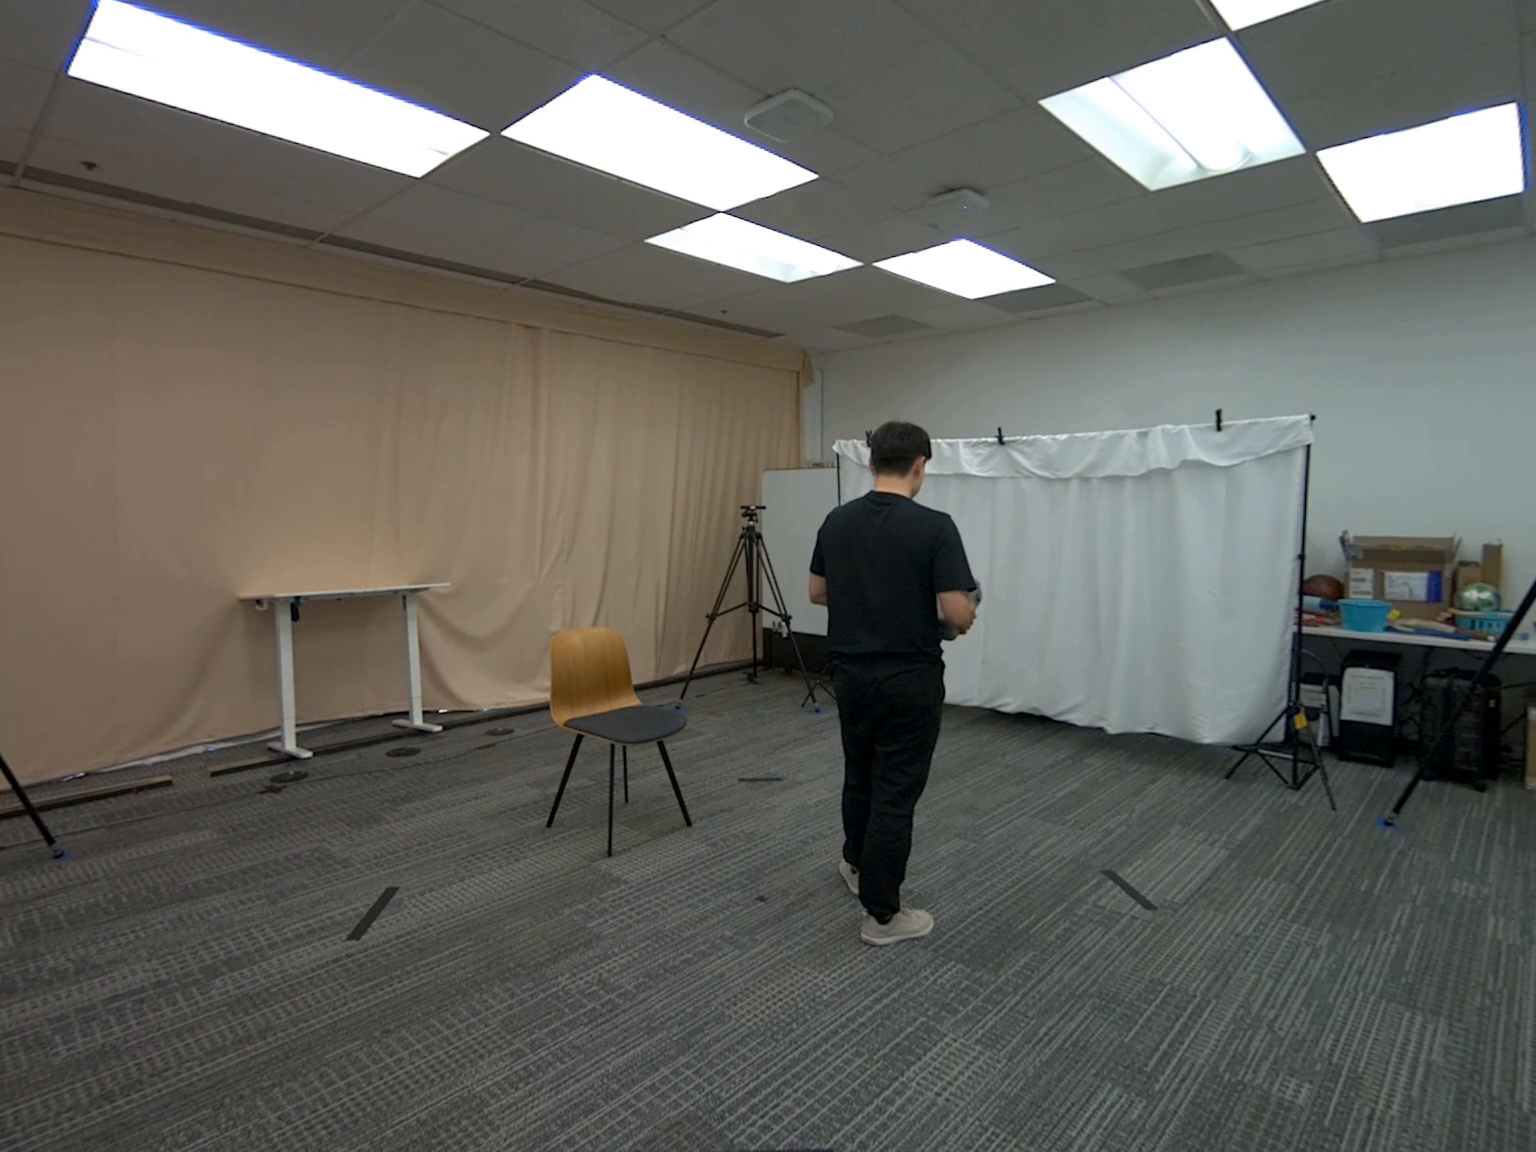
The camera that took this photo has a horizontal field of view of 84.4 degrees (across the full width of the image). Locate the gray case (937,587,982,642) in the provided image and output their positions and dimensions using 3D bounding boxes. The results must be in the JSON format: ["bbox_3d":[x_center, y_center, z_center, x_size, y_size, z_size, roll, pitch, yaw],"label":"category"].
[{"bbox_3d":[0.605,0.085,2.931,0.266,0.102,0.258,9,40,42],"label":"gray case"}]
